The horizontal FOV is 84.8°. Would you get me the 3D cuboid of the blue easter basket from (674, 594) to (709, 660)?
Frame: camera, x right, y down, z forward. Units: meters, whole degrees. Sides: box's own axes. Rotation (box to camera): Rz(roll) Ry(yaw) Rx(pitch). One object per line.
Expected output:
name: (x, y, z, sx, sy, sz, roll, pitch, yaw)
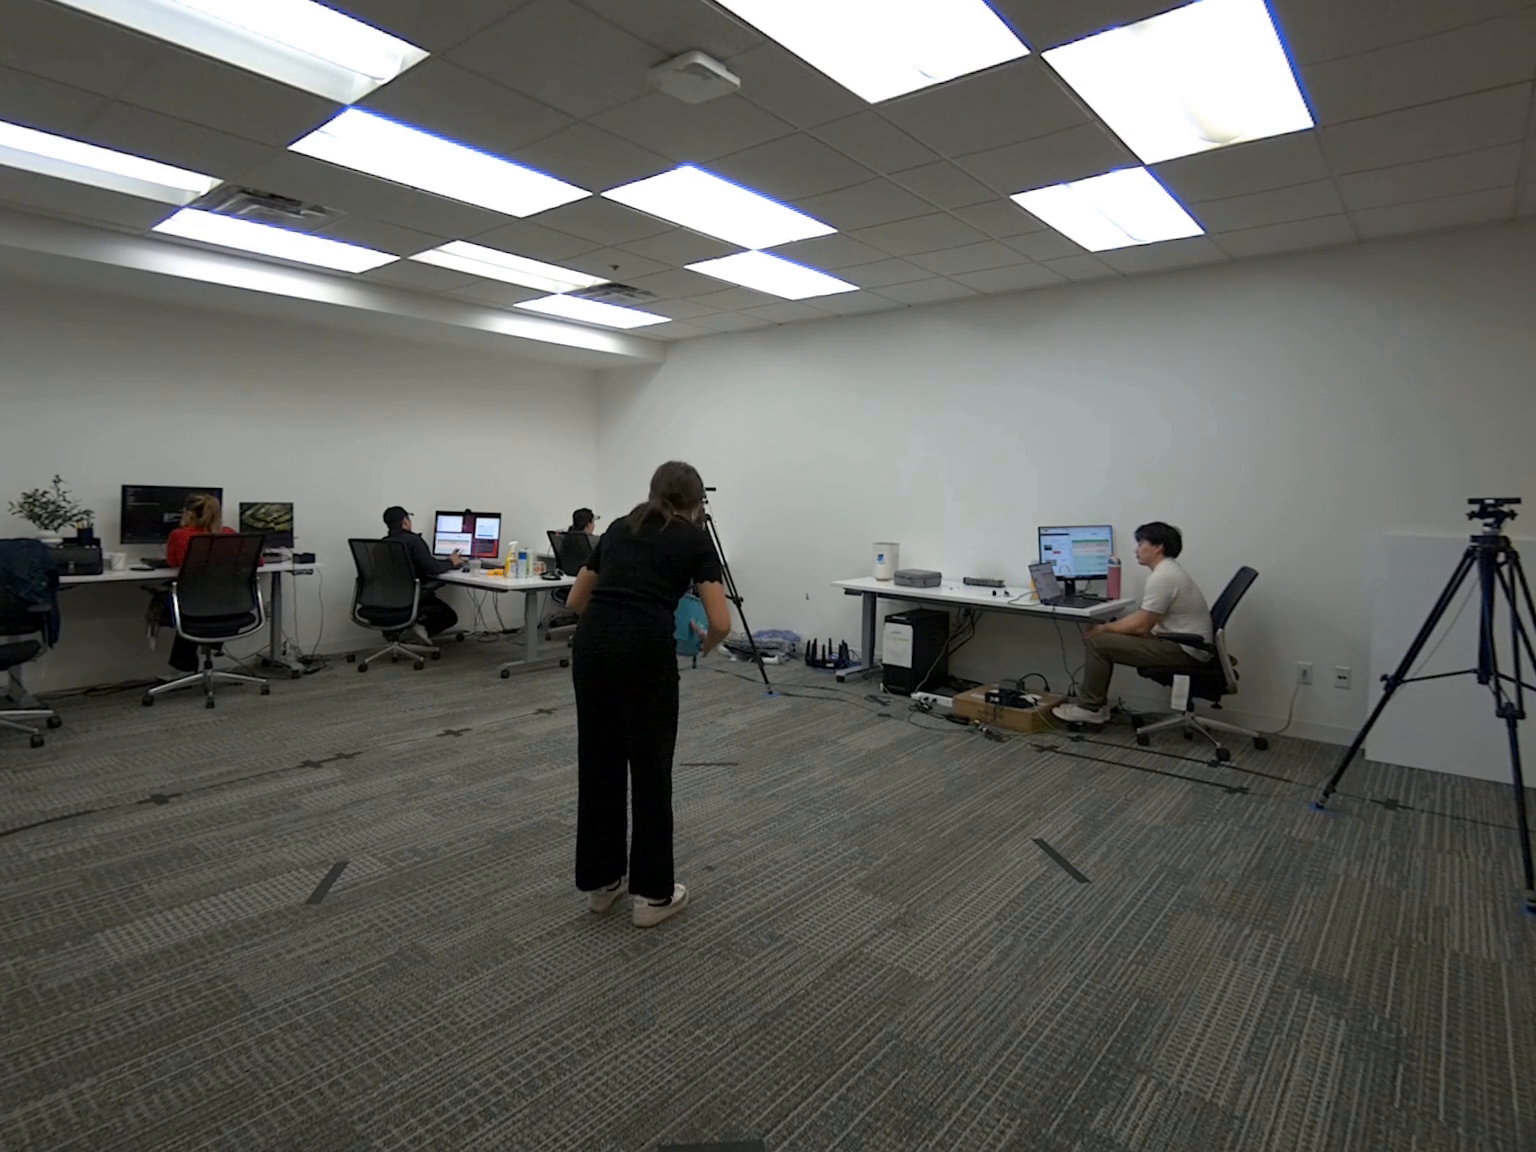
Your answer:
blue easter basket: (-0.315, 0.188, 3.055, 0.246, 0.158, 0.238, 15, -26, 6)
